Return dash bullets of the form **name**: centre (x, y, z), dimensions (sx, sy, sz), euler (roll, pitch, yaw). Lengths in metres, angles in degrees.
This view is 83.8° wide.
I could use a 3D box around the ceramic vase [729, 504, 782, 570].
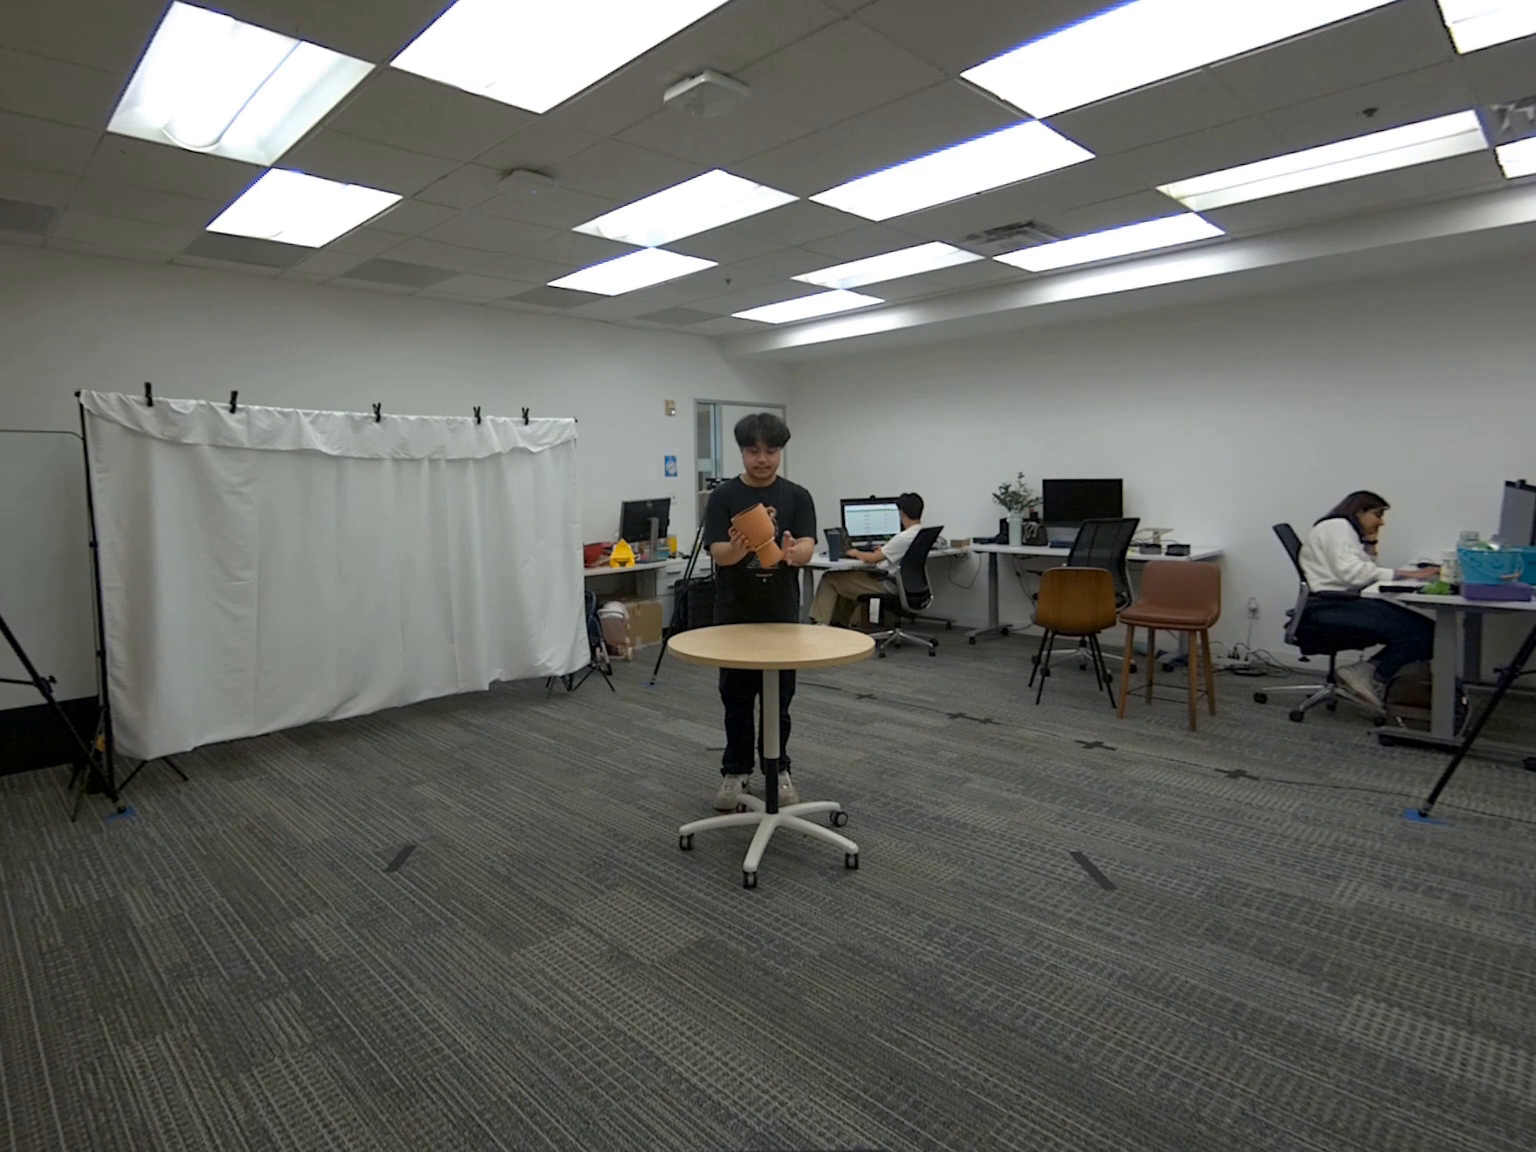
- **ceramic vase**: centre (-0.030, -0.148, 3.246), dimensions (0.161, 0.218, 0.134), euler (-21, 11, 41)
